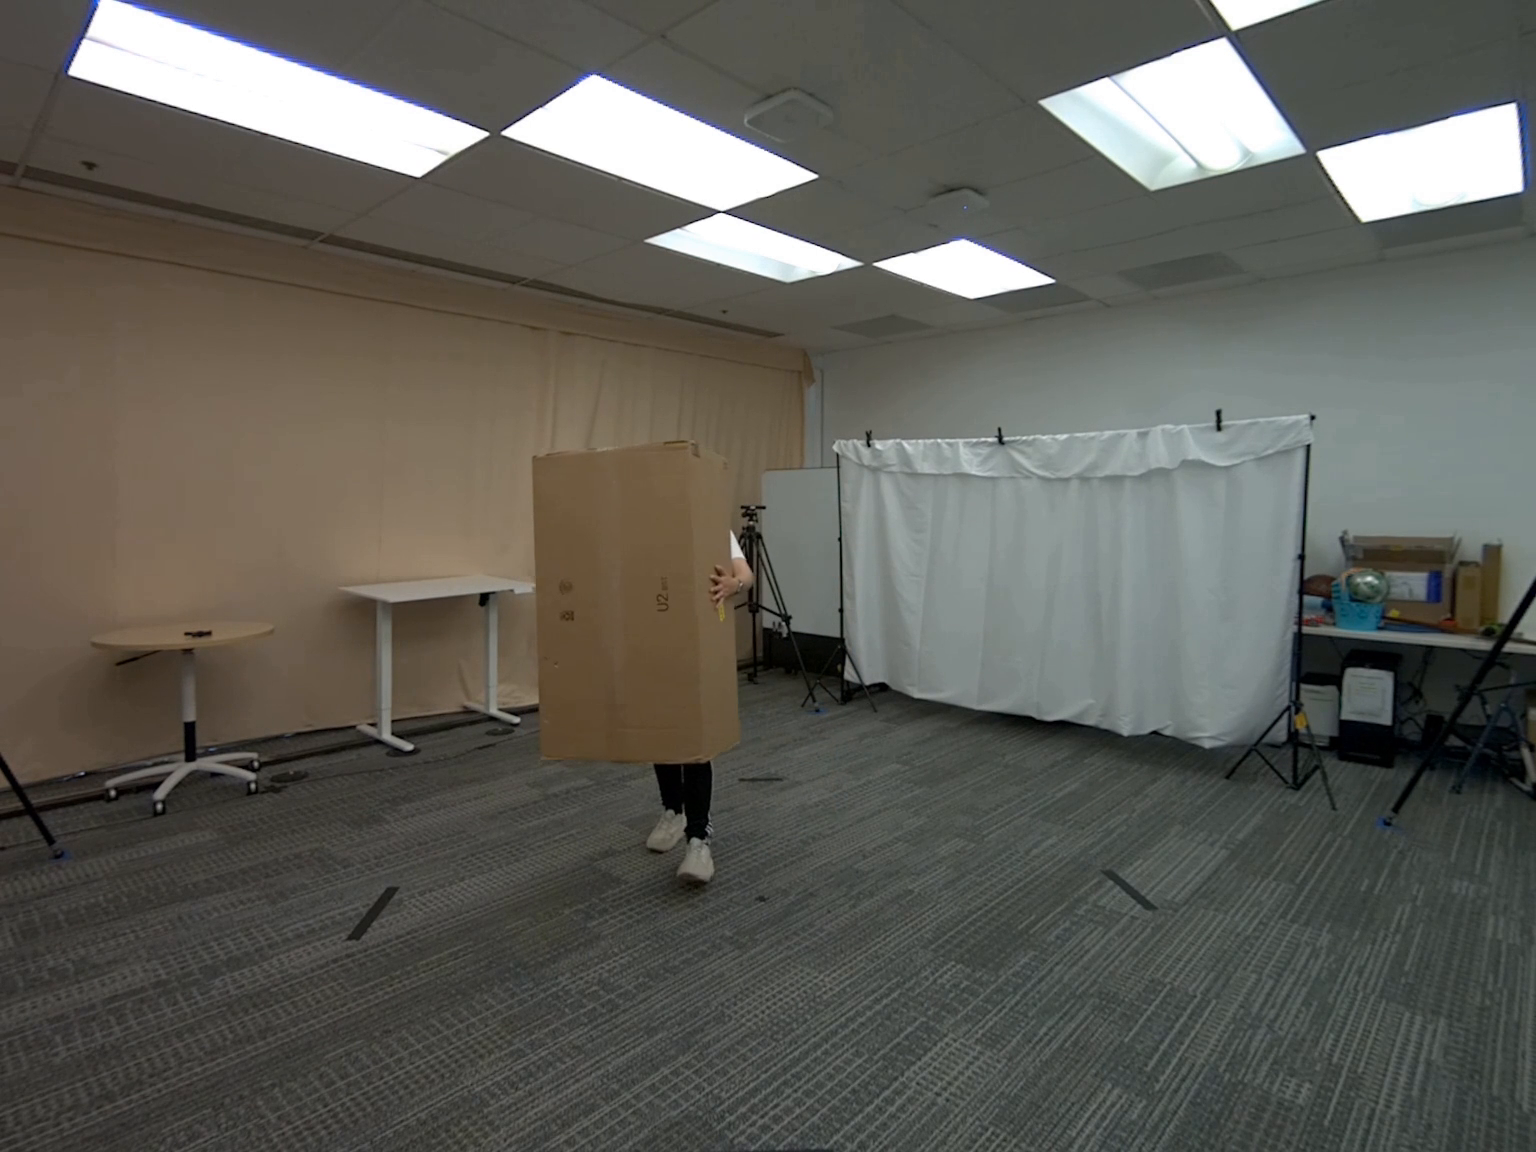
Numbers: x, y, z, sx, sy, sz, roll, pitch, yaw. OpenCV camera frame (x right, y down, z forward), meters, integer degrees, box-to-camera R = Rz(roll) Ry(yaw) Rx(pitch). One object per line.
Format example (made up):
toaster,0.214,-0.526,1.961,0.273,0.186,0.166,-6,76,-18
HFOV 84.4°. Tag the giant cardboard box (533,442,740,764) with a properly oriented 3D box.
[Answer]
giant cardboard box,-0.446,0.099,2.925,0.593,1.030,0.439,-4,-4,14
